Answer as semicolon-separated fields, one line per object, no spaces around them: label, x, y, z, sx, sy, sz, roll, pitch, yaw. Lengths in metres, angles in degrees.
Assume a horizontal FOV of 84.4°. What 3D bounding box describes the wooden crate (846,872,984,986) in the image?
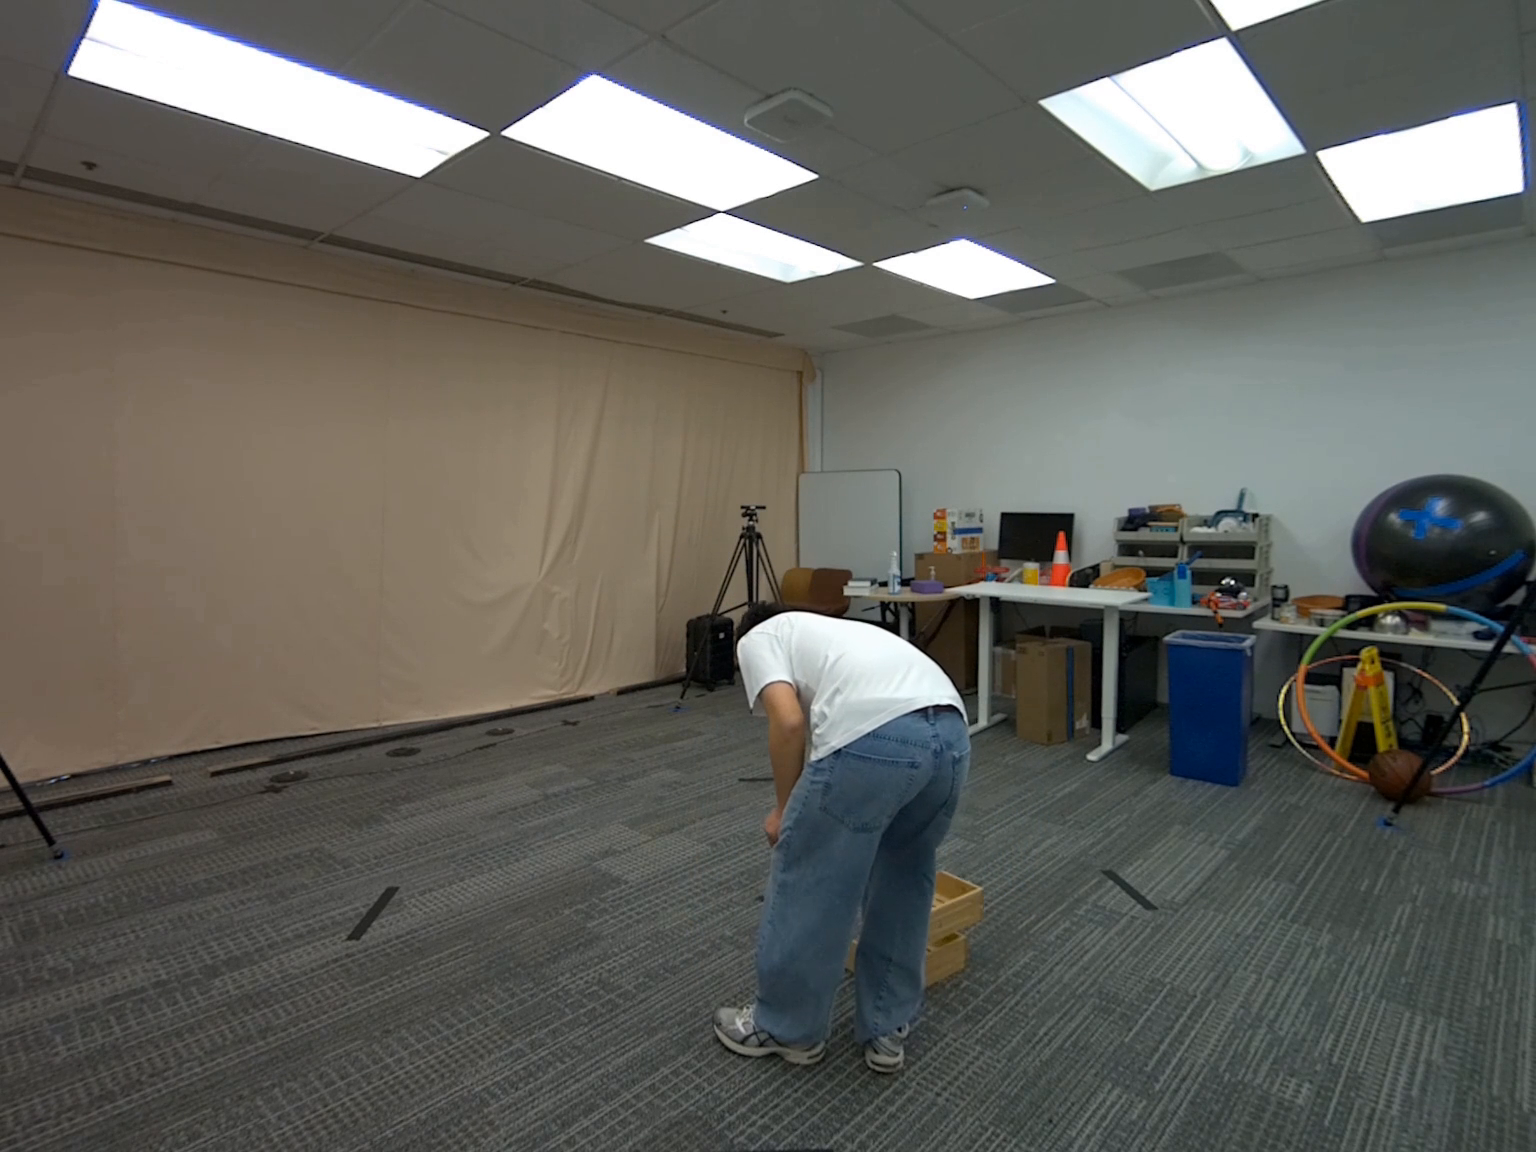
wooden crate;0.427;1.047;2.519;0.314;0.273;0.312;-3;5;-39
